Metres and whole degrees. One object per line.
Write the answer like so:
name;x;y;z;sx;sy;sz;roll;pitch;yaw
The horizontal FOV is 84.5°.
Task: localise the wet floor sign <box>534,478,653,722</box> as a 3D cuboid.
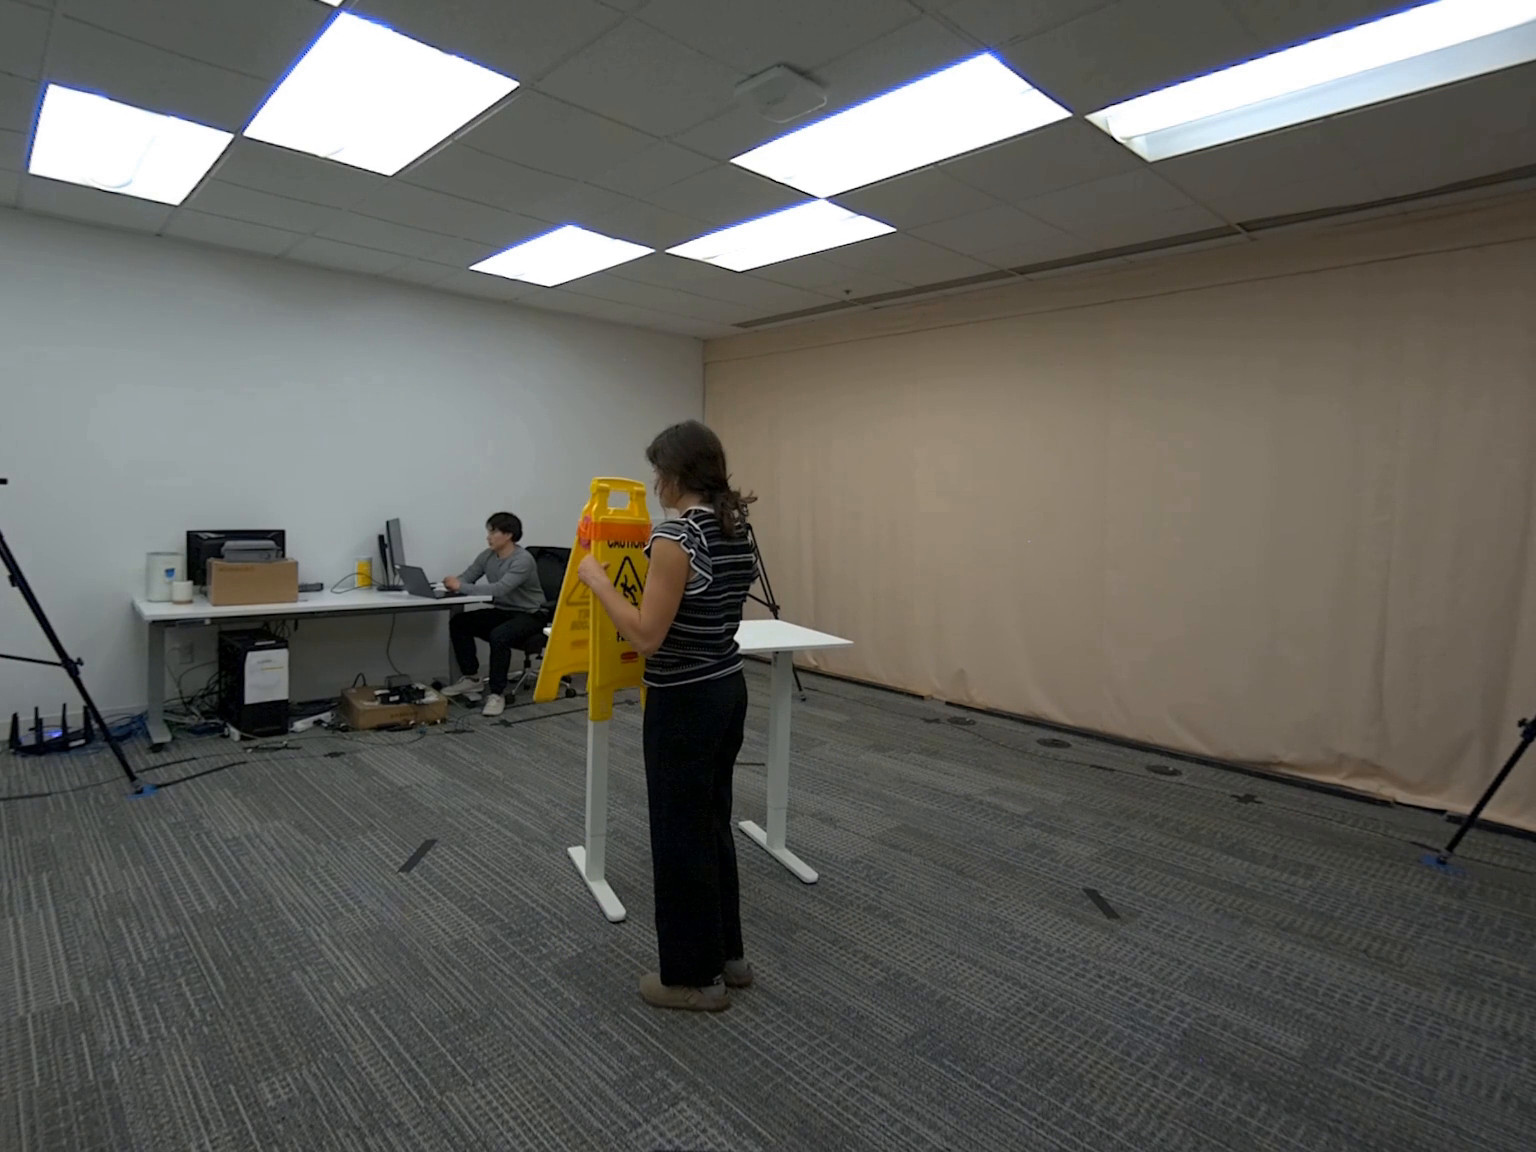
wet floor sign;-0.447;0.054;2.390;0.297;0.645;0.276;7;4;37
